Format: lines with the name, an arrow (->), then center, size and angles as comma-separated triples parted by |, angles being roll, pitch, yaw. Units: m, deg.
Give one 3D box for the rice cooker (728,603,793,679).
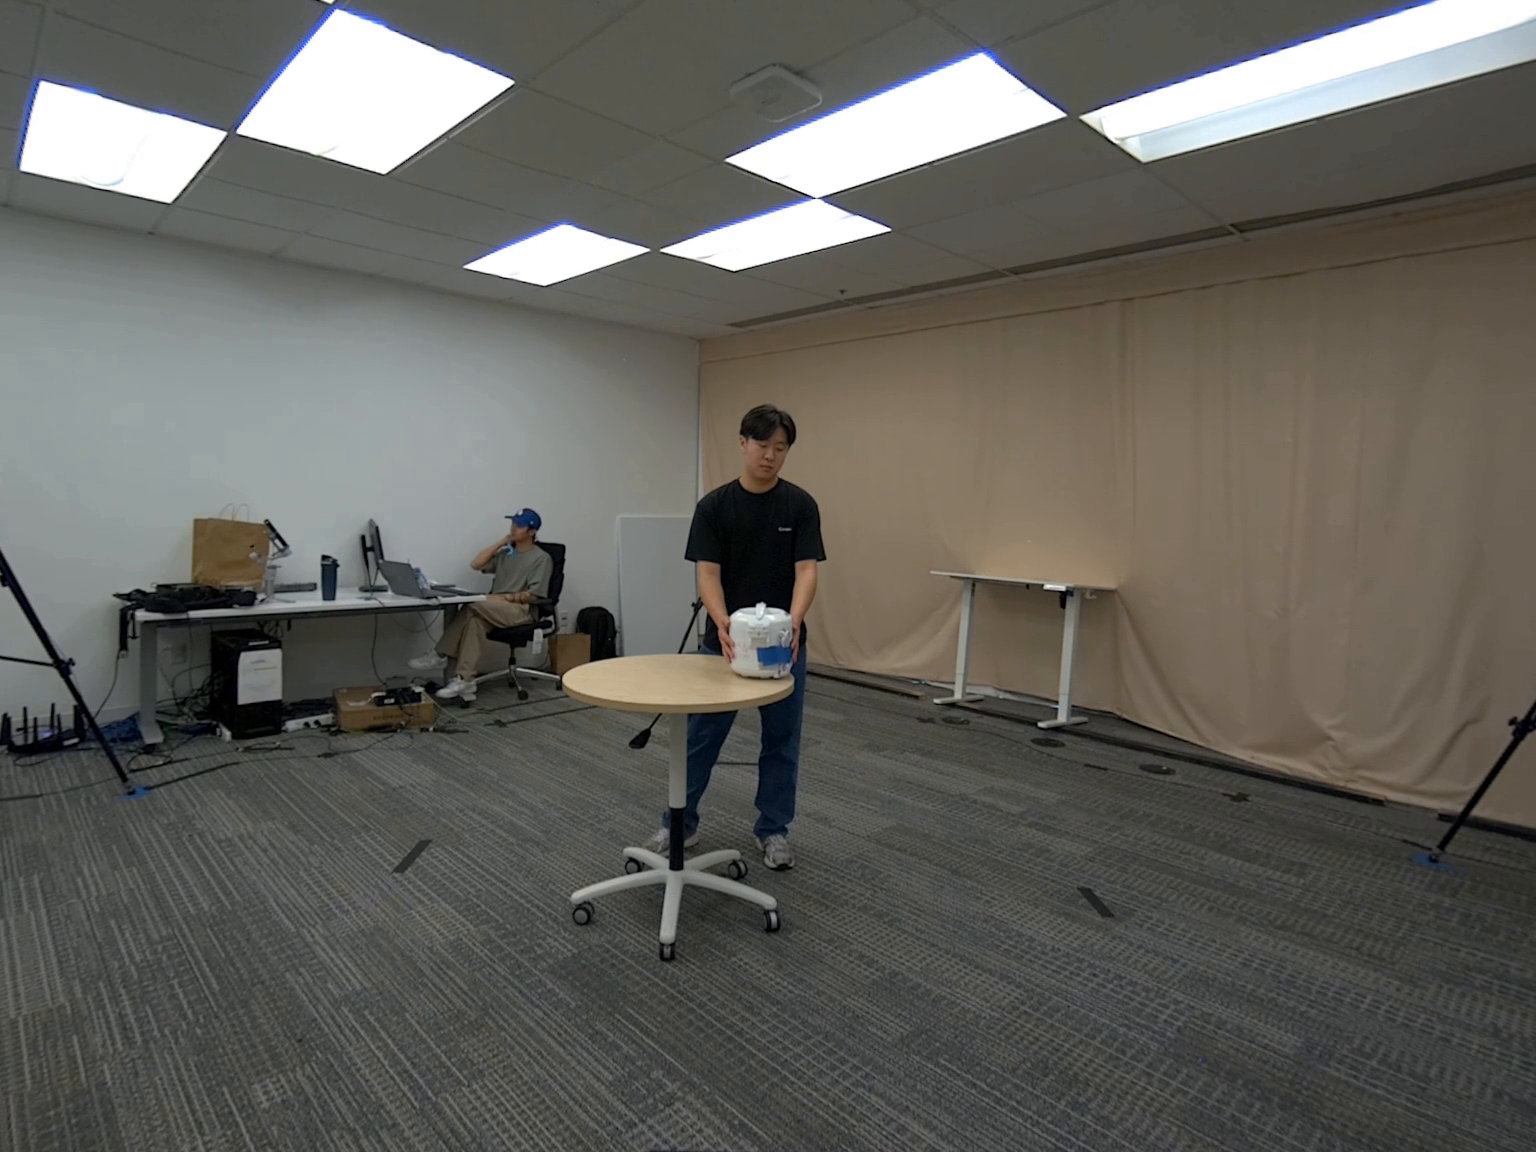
rice cooker -> -0.032, 0.211, 2.813 | 0.218, 0.232, 0.221 | 1, 7, 4
